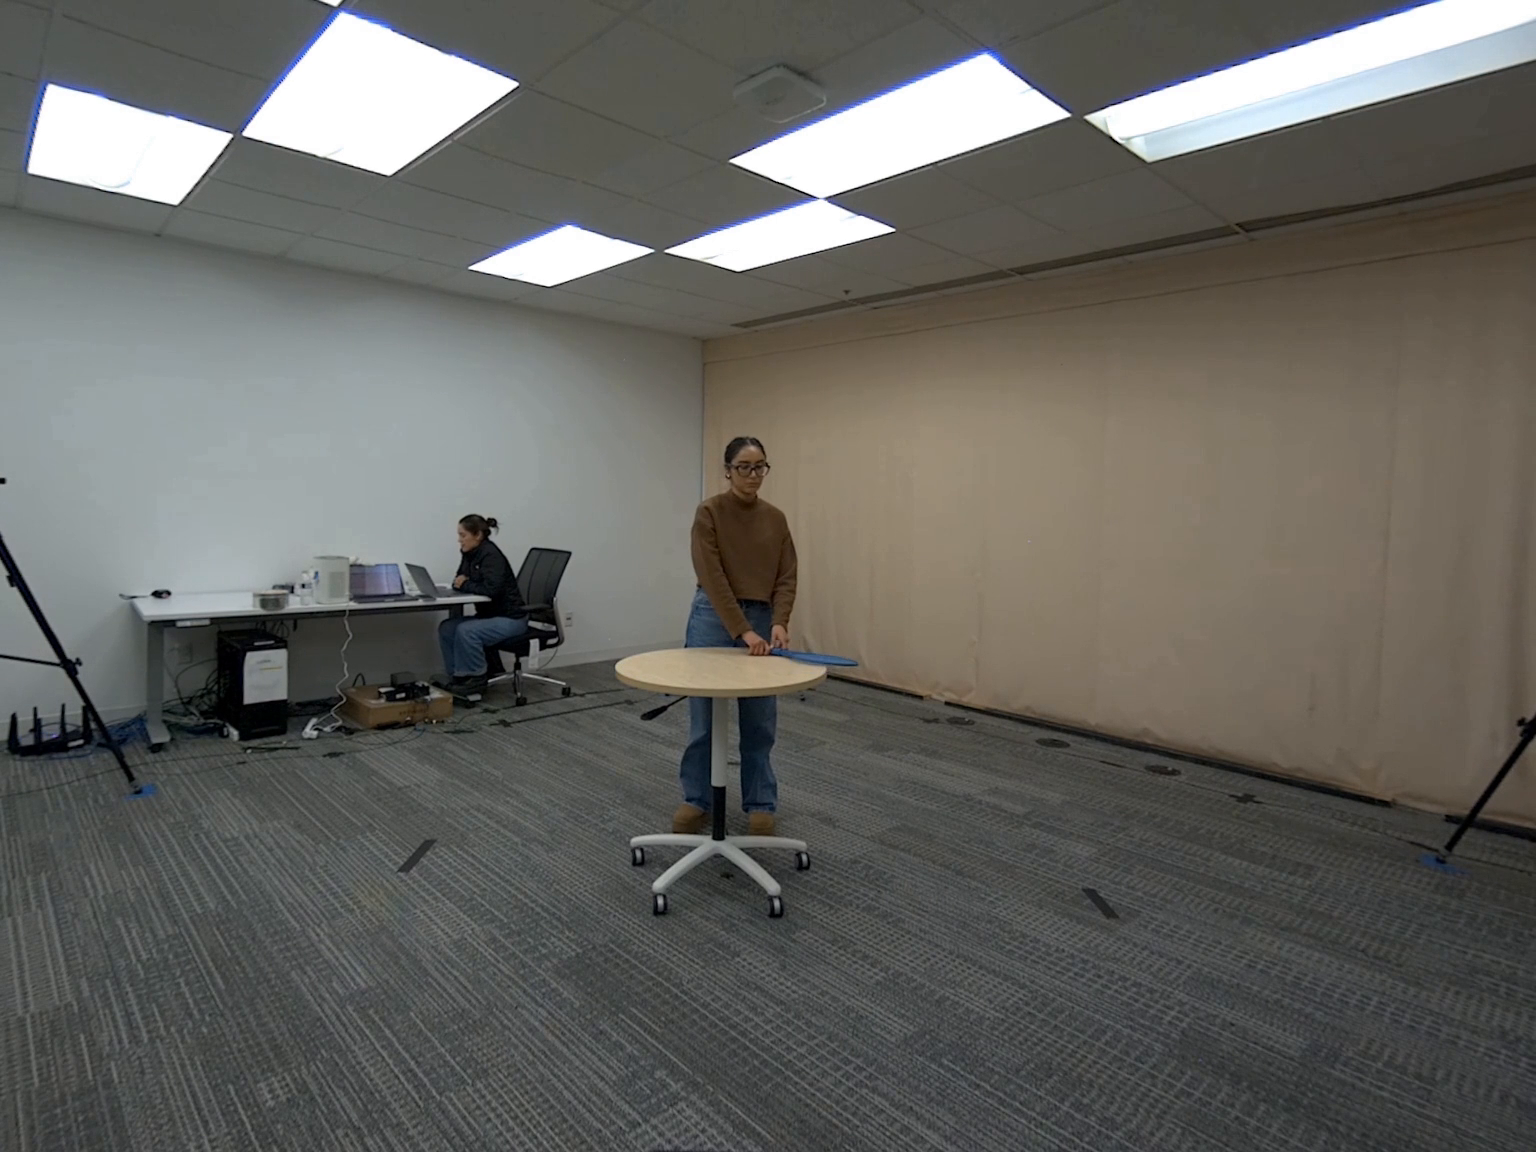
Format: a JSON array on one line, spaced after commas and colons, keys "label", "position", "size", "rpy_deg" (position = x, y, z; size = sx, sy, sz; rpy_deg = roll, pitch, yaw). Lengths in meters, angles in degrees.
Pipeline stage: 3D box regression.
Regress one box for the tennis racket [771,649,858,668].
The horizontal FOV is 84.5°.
[{"label": "tennis racket", "position": [0.134, 0.311, 3.215], "size": [0.443, 0.032, 0.209], "rpy_deg": [6, 4, 32]}]
